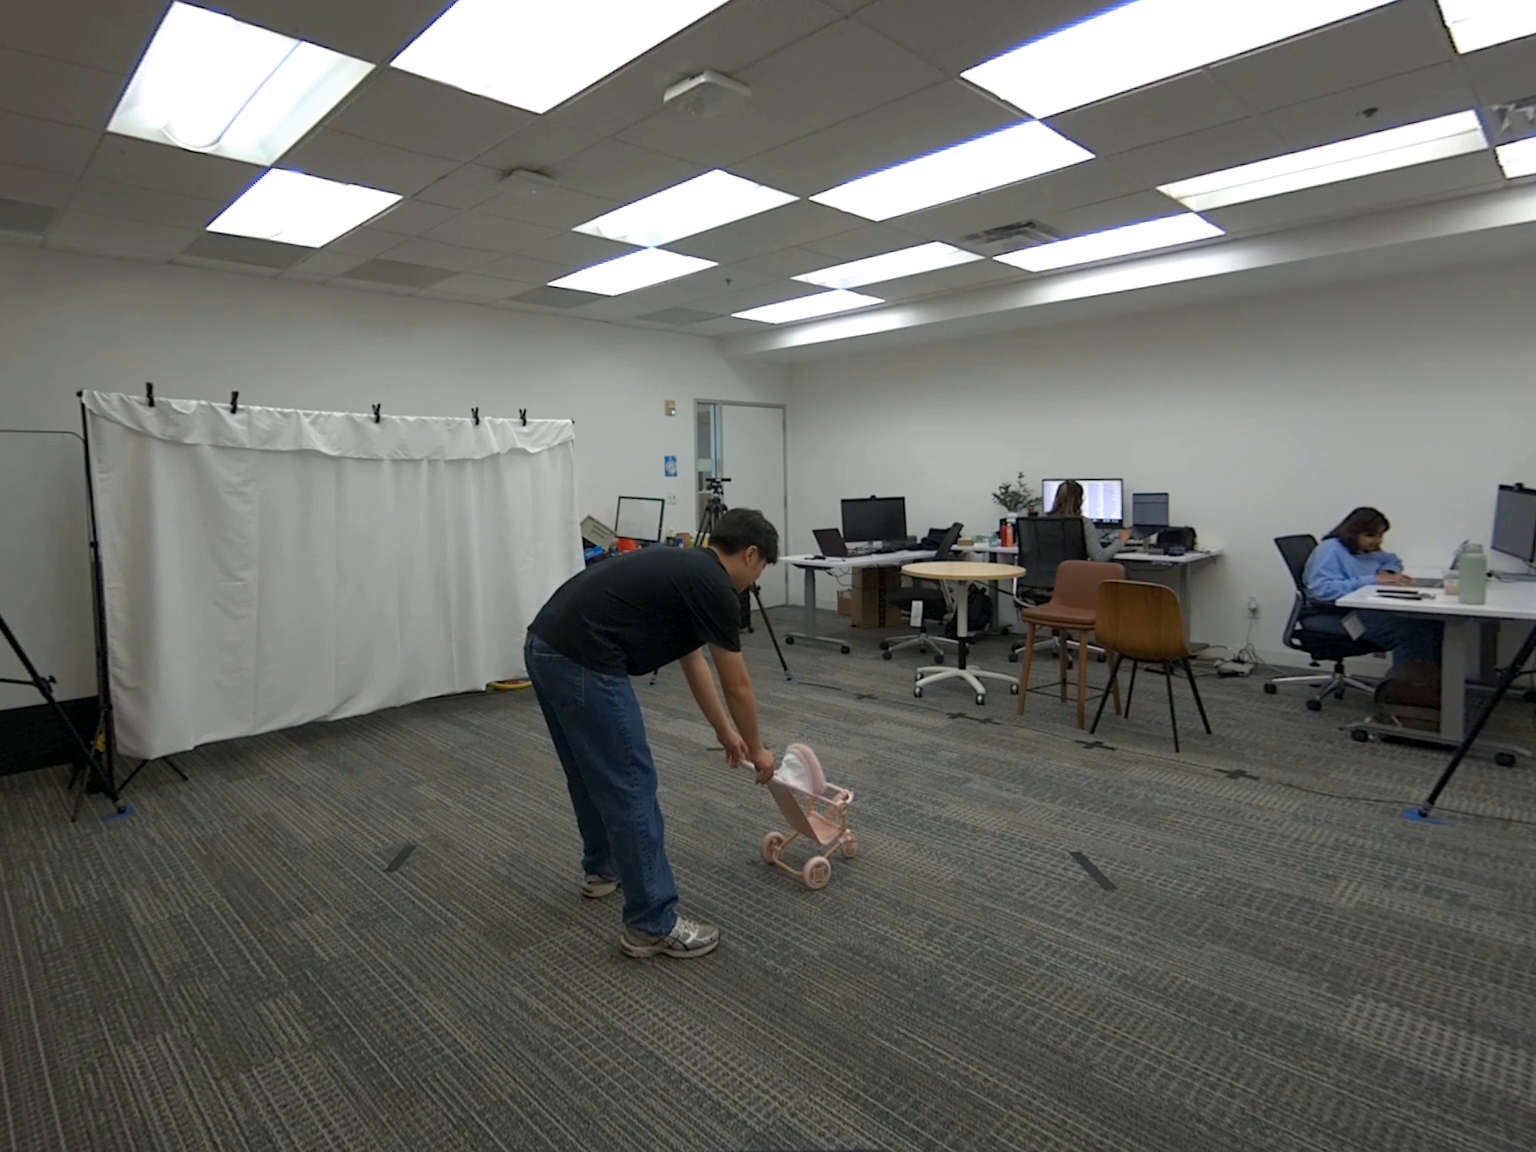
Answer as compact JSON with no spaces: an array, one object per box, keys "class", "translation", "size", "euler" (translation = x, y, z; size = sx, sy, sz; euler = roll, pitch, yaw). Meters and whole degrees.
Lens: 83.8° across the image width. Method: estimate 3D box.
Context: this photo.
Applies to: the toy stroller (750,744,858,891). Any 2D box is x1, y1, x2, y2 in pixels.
[{"class":"toy stroller","translation":[0.141,0.825,3.023],"size":[0.337,0.527,0.289],"euler":[-23,14,-27]}]
